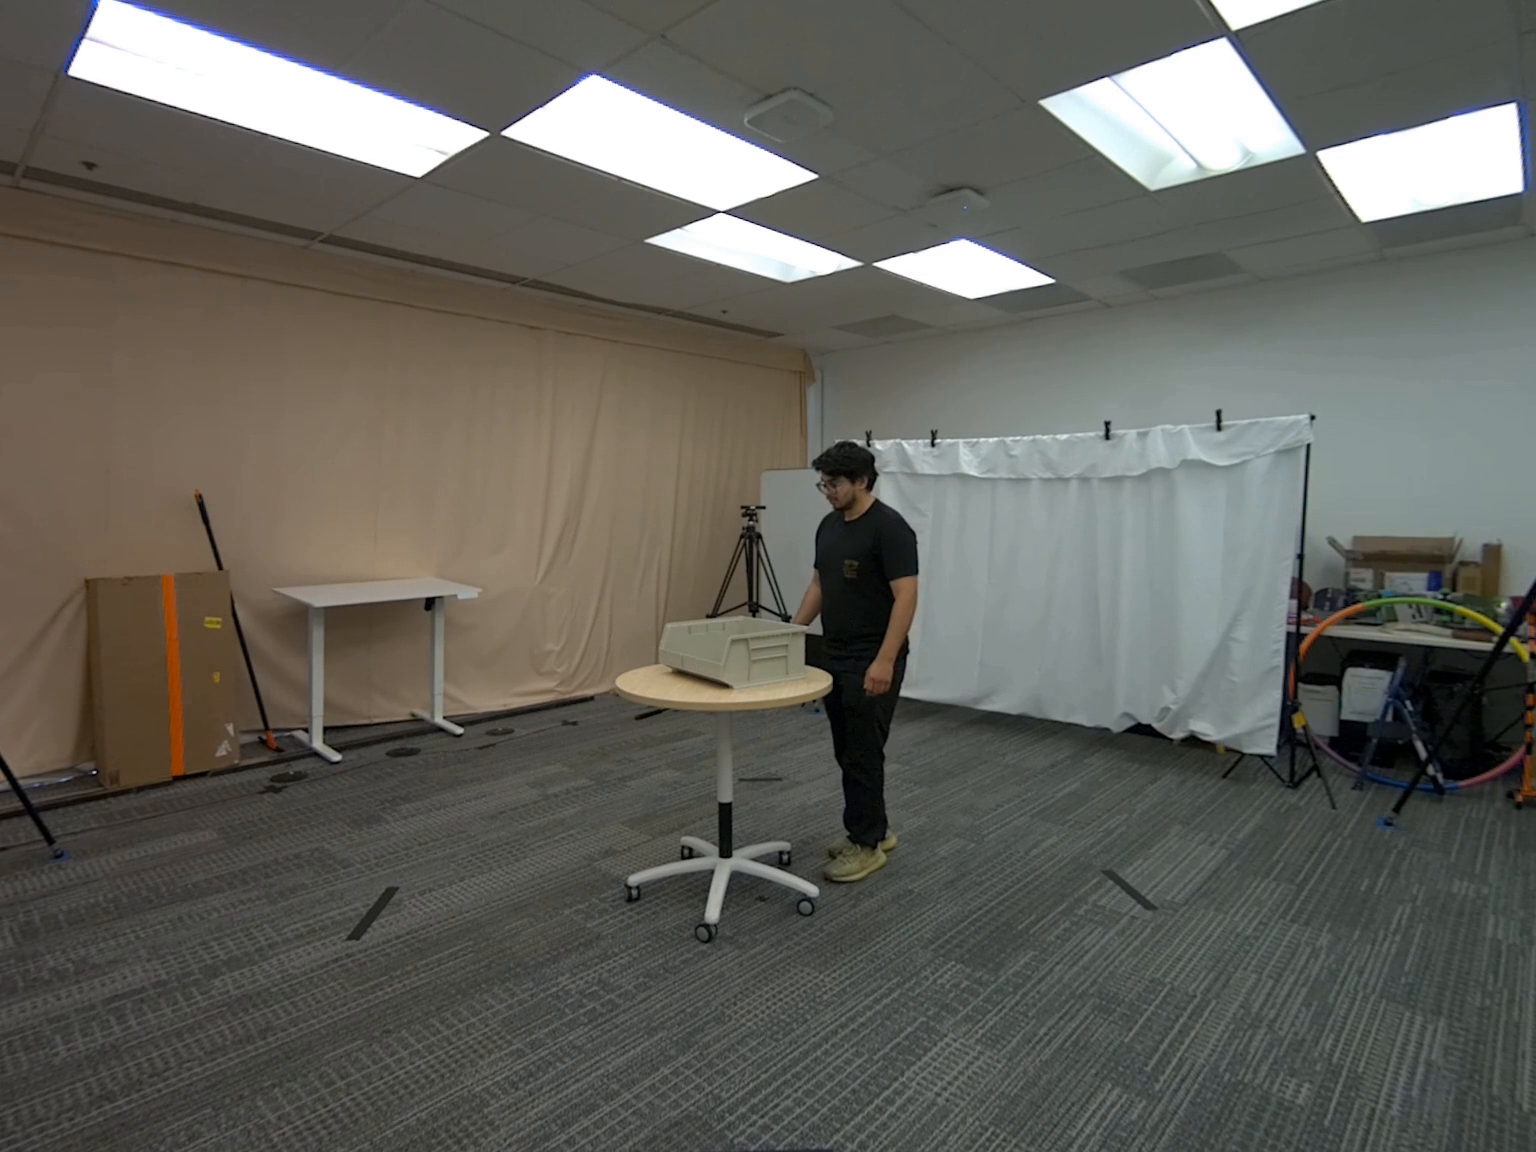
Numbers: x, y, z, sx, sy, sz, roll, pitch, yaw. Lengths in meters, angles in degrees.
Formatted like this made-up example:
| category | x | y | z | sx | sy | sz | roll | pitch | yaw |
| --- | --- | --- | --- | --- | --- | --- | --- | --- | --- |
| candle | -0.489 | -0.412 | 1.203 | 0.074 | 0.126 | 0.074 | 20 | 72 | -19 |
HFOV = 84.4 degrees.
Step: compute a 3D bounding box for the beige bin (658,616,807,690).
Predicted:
| category | x | y | z | sx | sy | sz | roll | pitch | yaw |
| --- | --- | --- | --- | --- | --- | --- | --- | --- | --- |
| beige bin | -0.128 | 0.269 | 3.026 | 0.366 | 0.189 | 0.436 | -2 | 4 | -35 |
